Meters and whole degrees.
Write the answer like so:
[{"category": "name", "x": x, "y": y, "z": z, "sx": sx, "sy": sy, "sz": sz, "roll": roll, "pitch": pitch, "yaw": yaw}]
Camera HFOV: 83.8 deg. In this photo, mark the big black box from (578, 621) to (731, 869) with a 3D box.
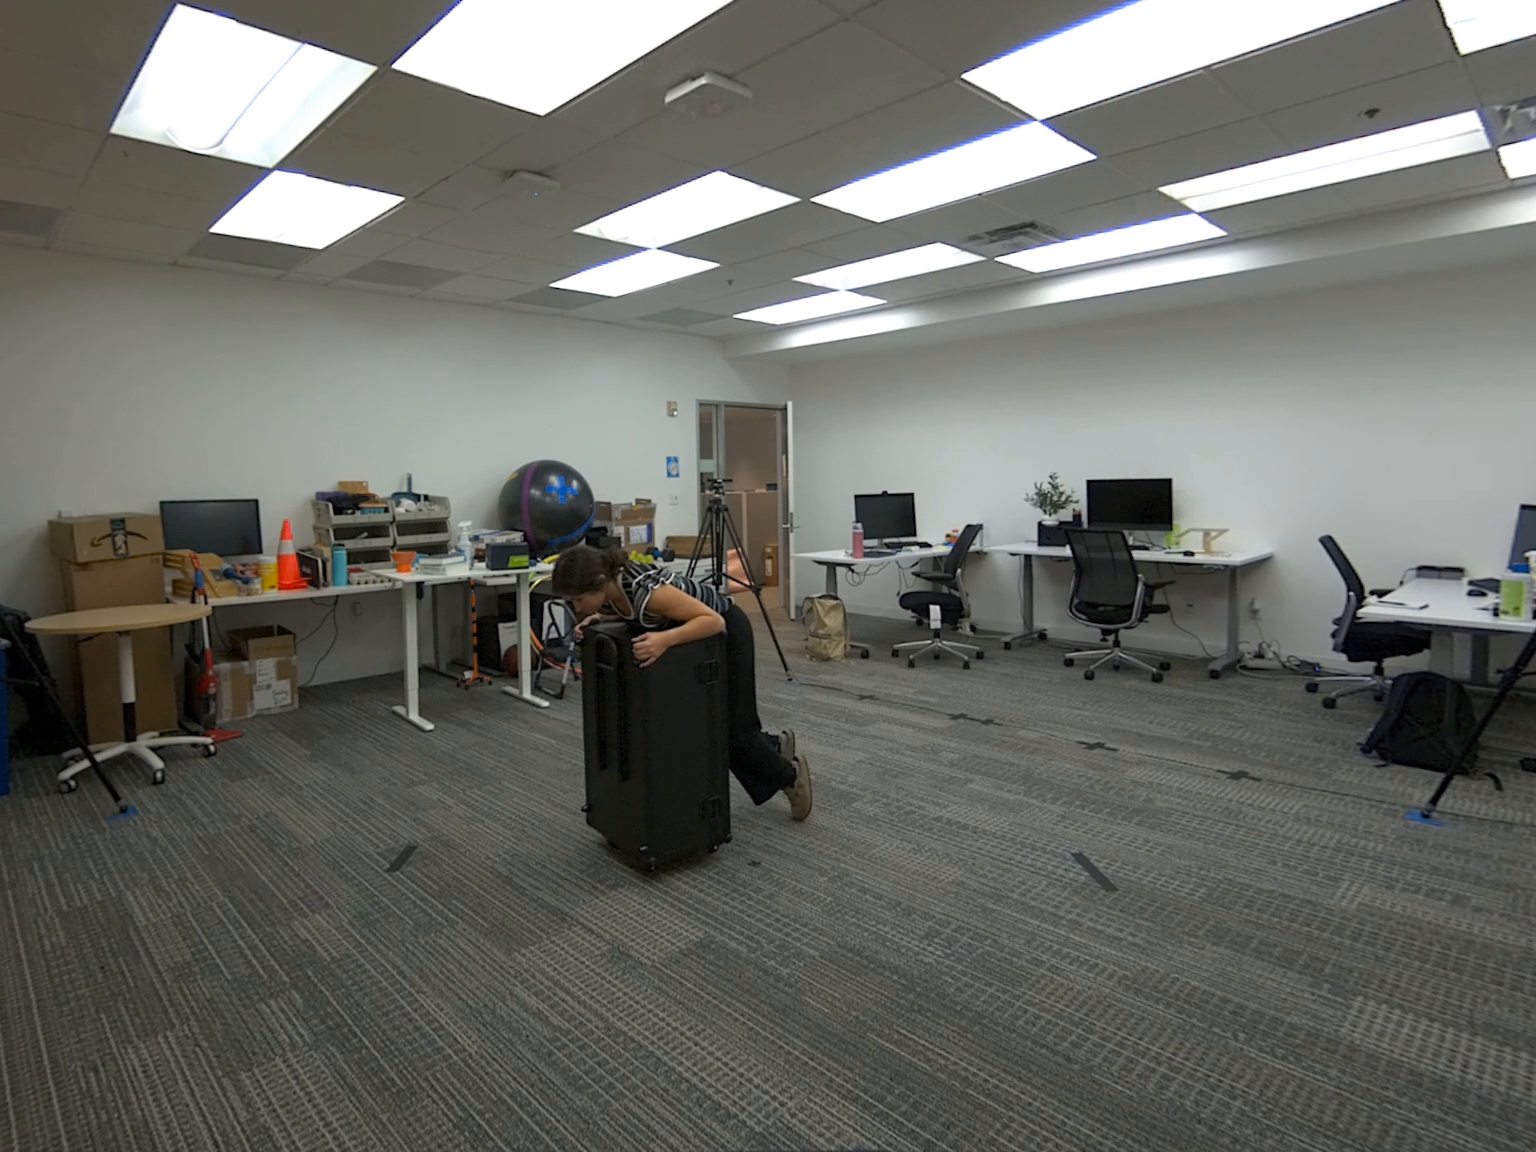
[{"category": "big black box", "x": -0.431, "y": 0.625, "z": 3.193, "sx": 0.386, "sy": 0.857, "sz": 0.537, "roll": -6, "pitch": 6, "yaw": -36}]
